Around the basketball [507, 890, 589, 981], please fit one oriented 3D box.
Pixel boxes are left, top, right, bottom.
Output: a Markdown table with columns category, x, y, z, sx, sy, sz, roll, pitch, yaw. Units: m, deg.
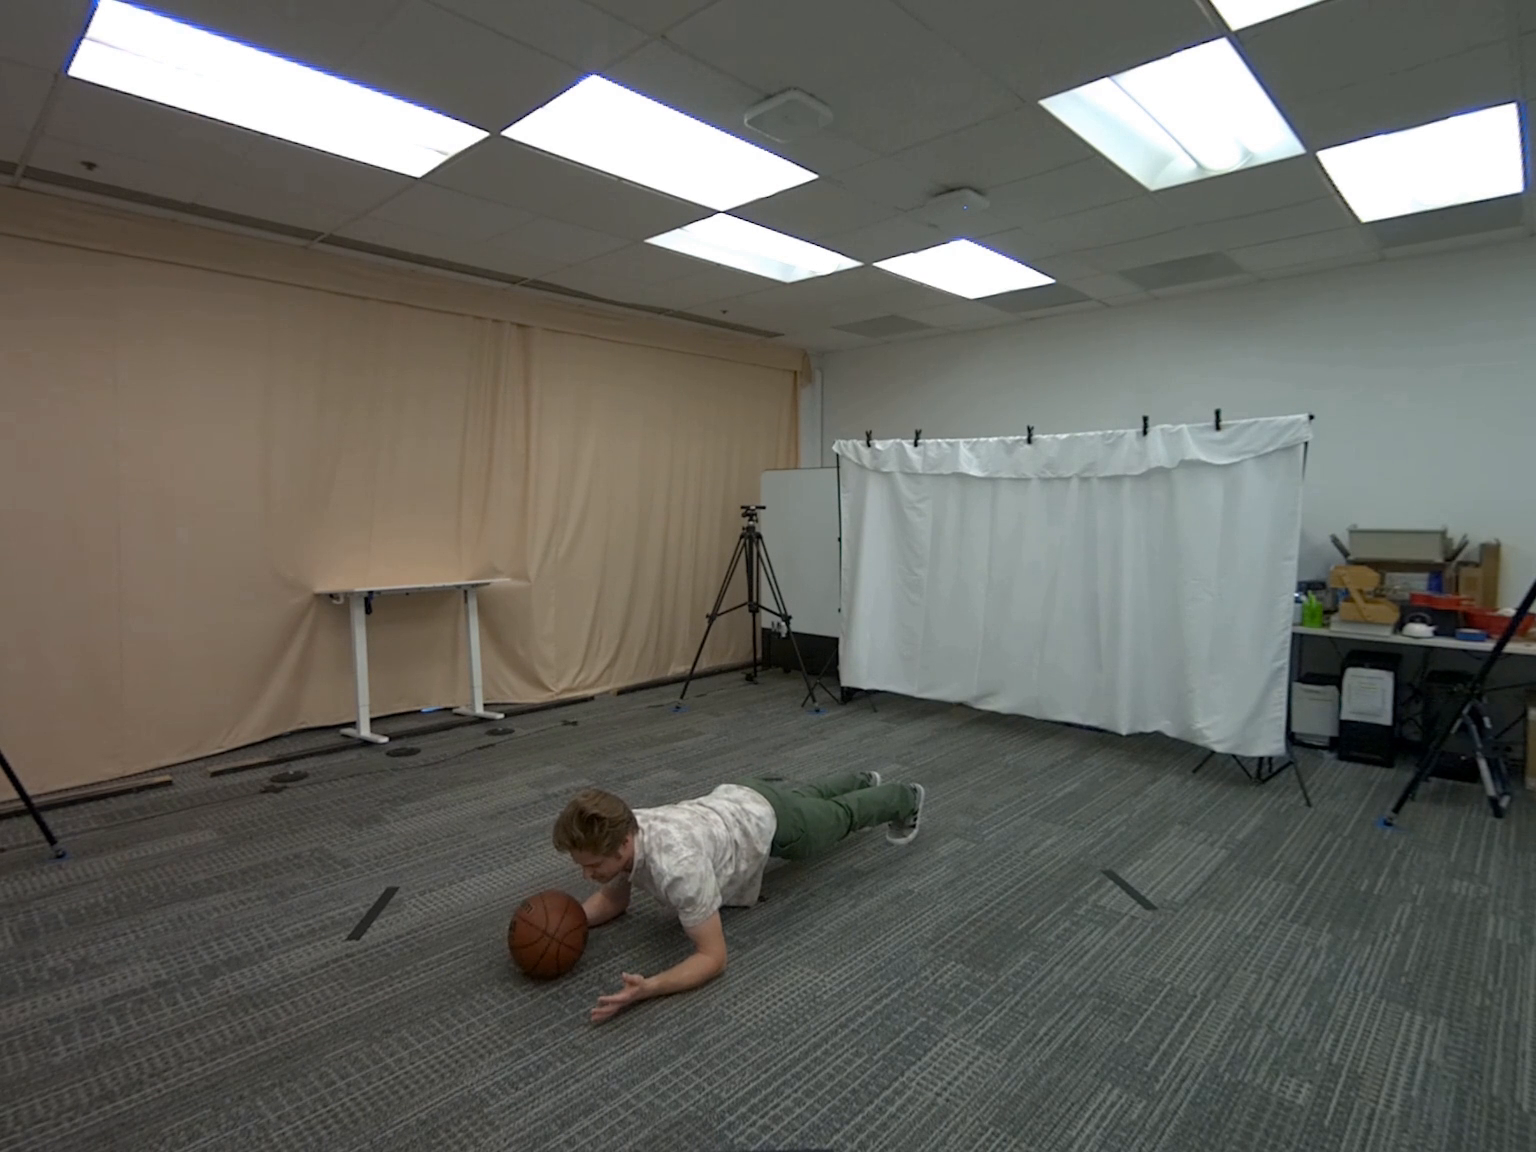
| category | x | y | z | sx | sy | sz | roll | pitch | yaw |
| --- | --- | --- | --- | --- | --- | --- | --- | --- | --- |
| basketball | -0.652 | 1.067 | 2.516 | 0.236 | 0.235 | 0.237 | 0 | 4 | -2 |
